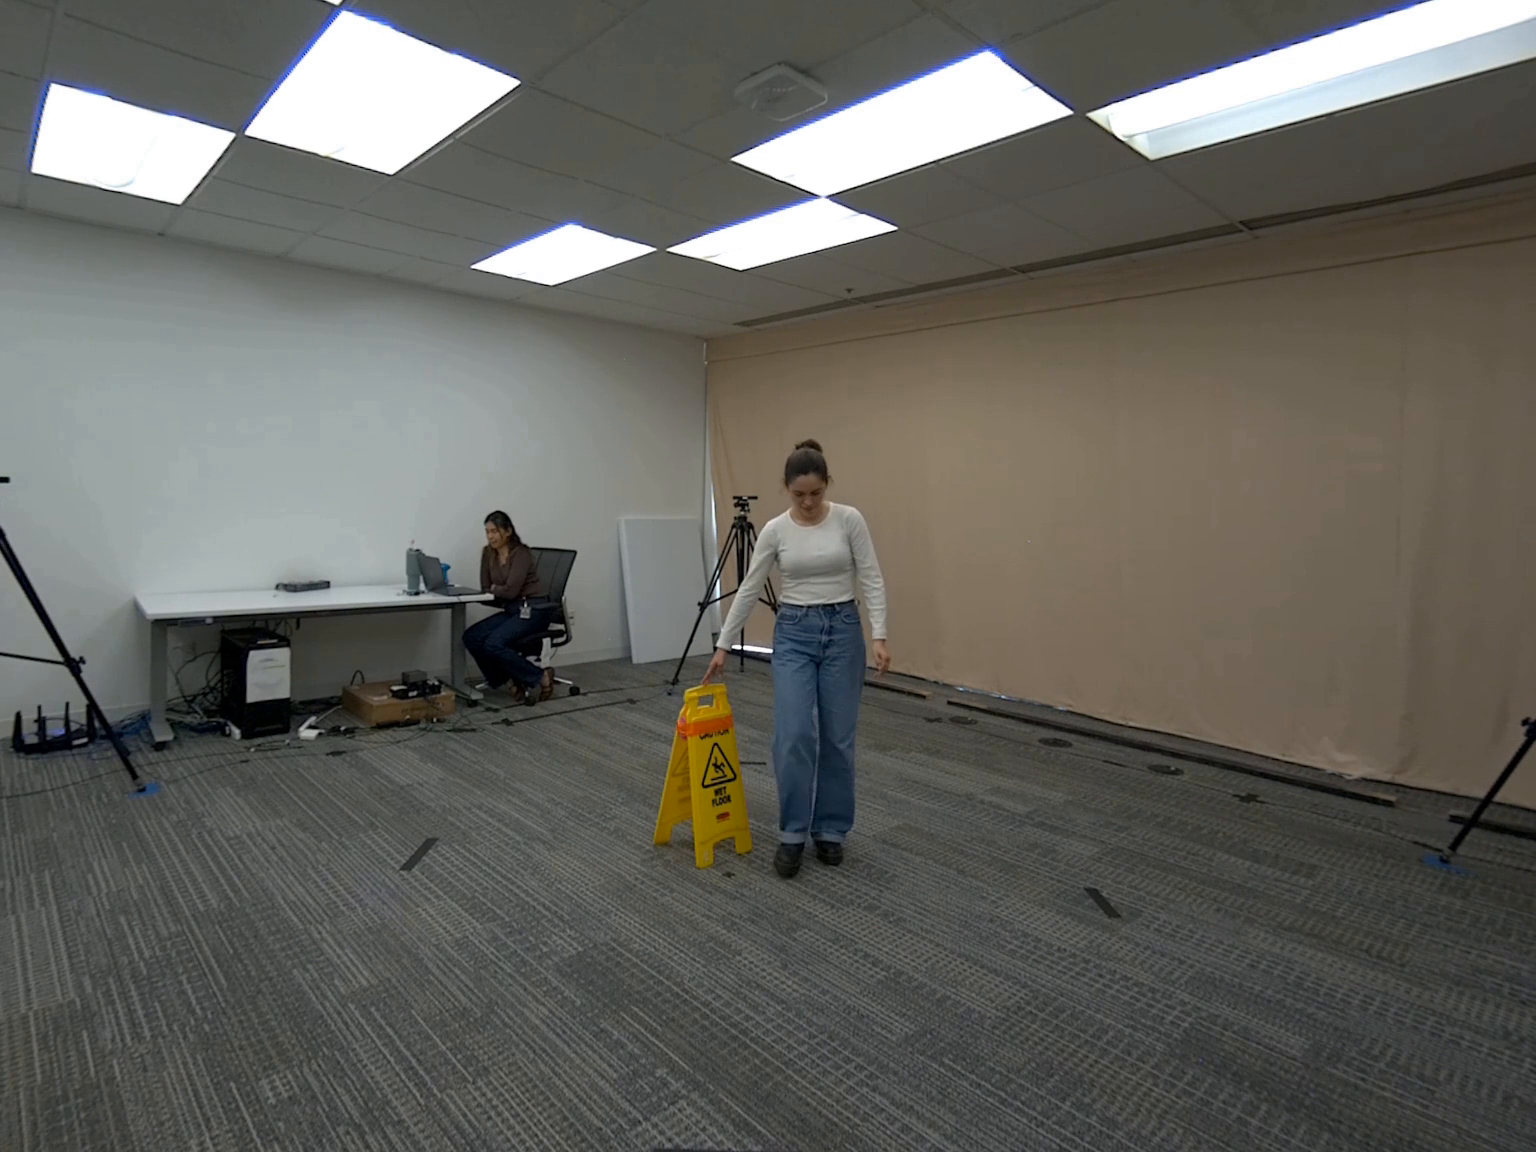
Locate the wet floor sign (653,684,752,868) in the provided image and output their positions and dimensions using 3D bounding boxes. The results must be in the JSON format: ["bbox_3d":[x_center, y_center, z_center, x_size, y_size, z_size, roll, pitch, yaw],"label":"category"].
[{"bbox_3d":[-0.260,0.752,3.326,0.276,0.645,0.297,-1,3,-44],"label":"wet floor sign"}]
